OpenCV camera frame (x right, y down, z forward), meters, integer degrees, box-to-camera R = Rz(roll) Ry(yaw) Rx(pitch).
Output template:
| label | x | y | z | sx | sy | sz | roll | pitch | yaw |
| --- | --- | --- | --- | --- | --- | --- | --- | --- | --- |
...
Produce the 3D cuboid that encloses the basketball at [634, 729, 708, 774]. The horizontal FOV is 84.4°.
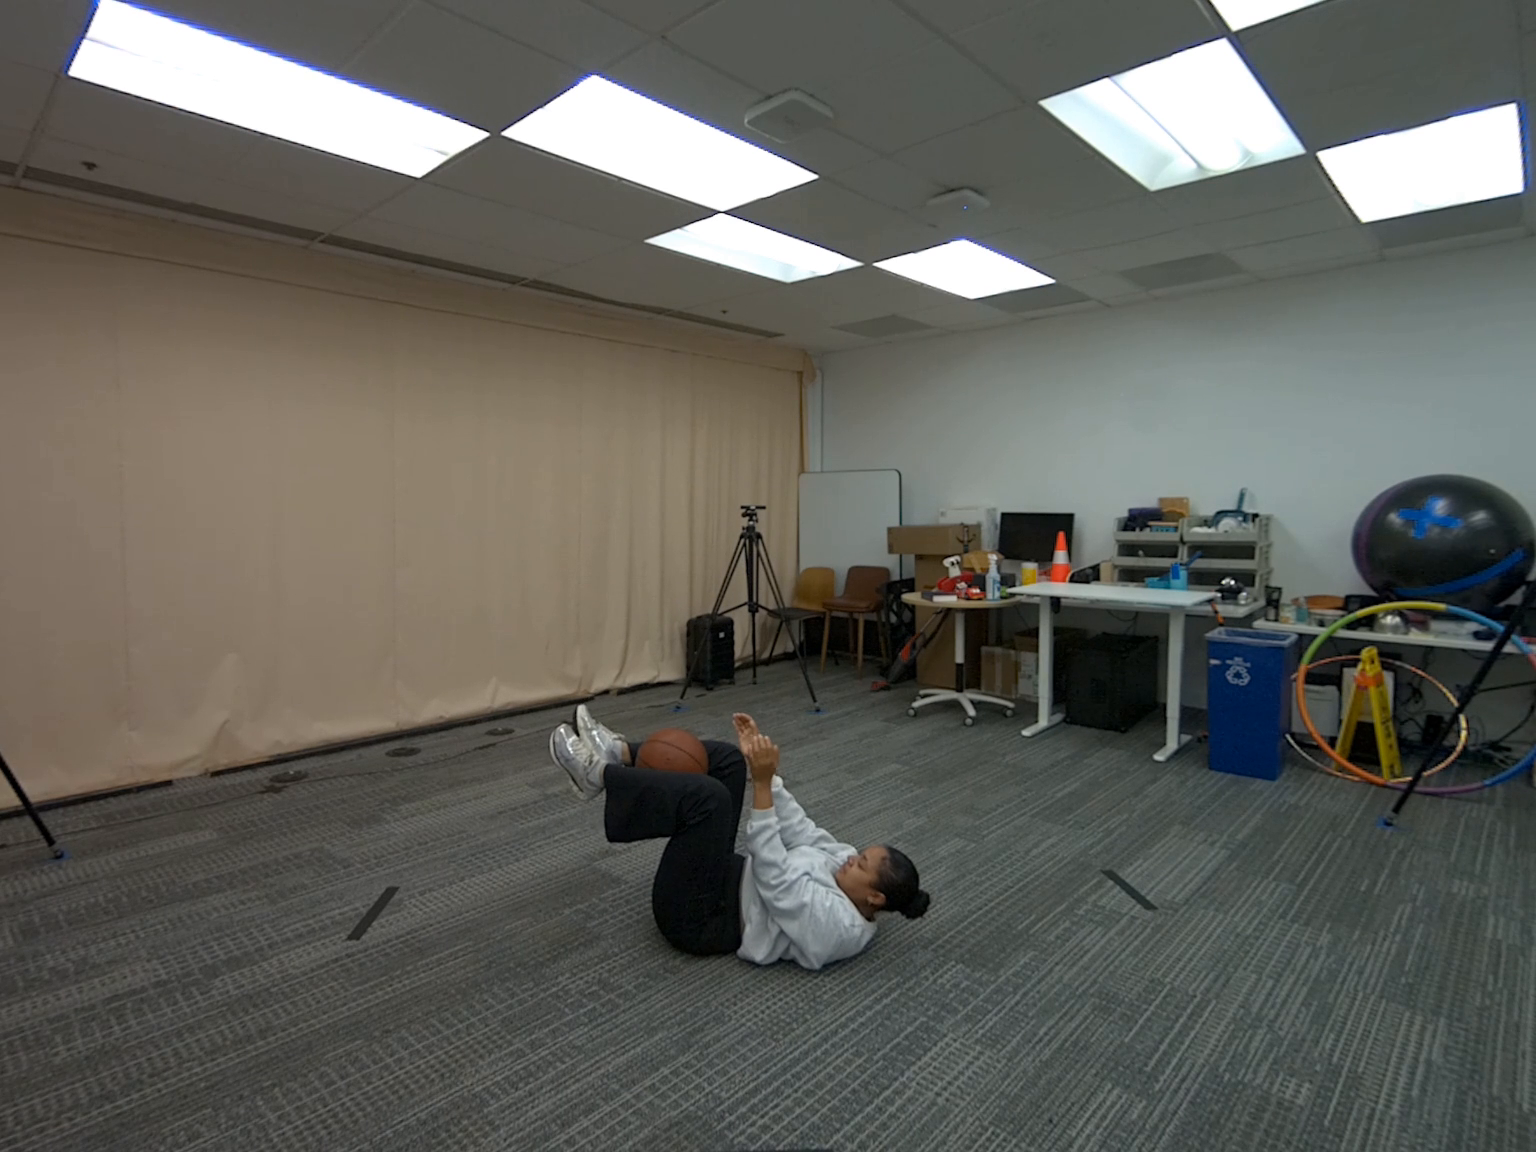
| label | x | y | z | sx | sy | sz | roll | pitch | yaw |
| --- | --- | --- | --- | --- | --- | --- | --- | --- | --- |
| basketball | -0.312 | 0.618 | 2.744 | 0.235 | 0.235 | 0.237 | 1 | 4 | -2 |
